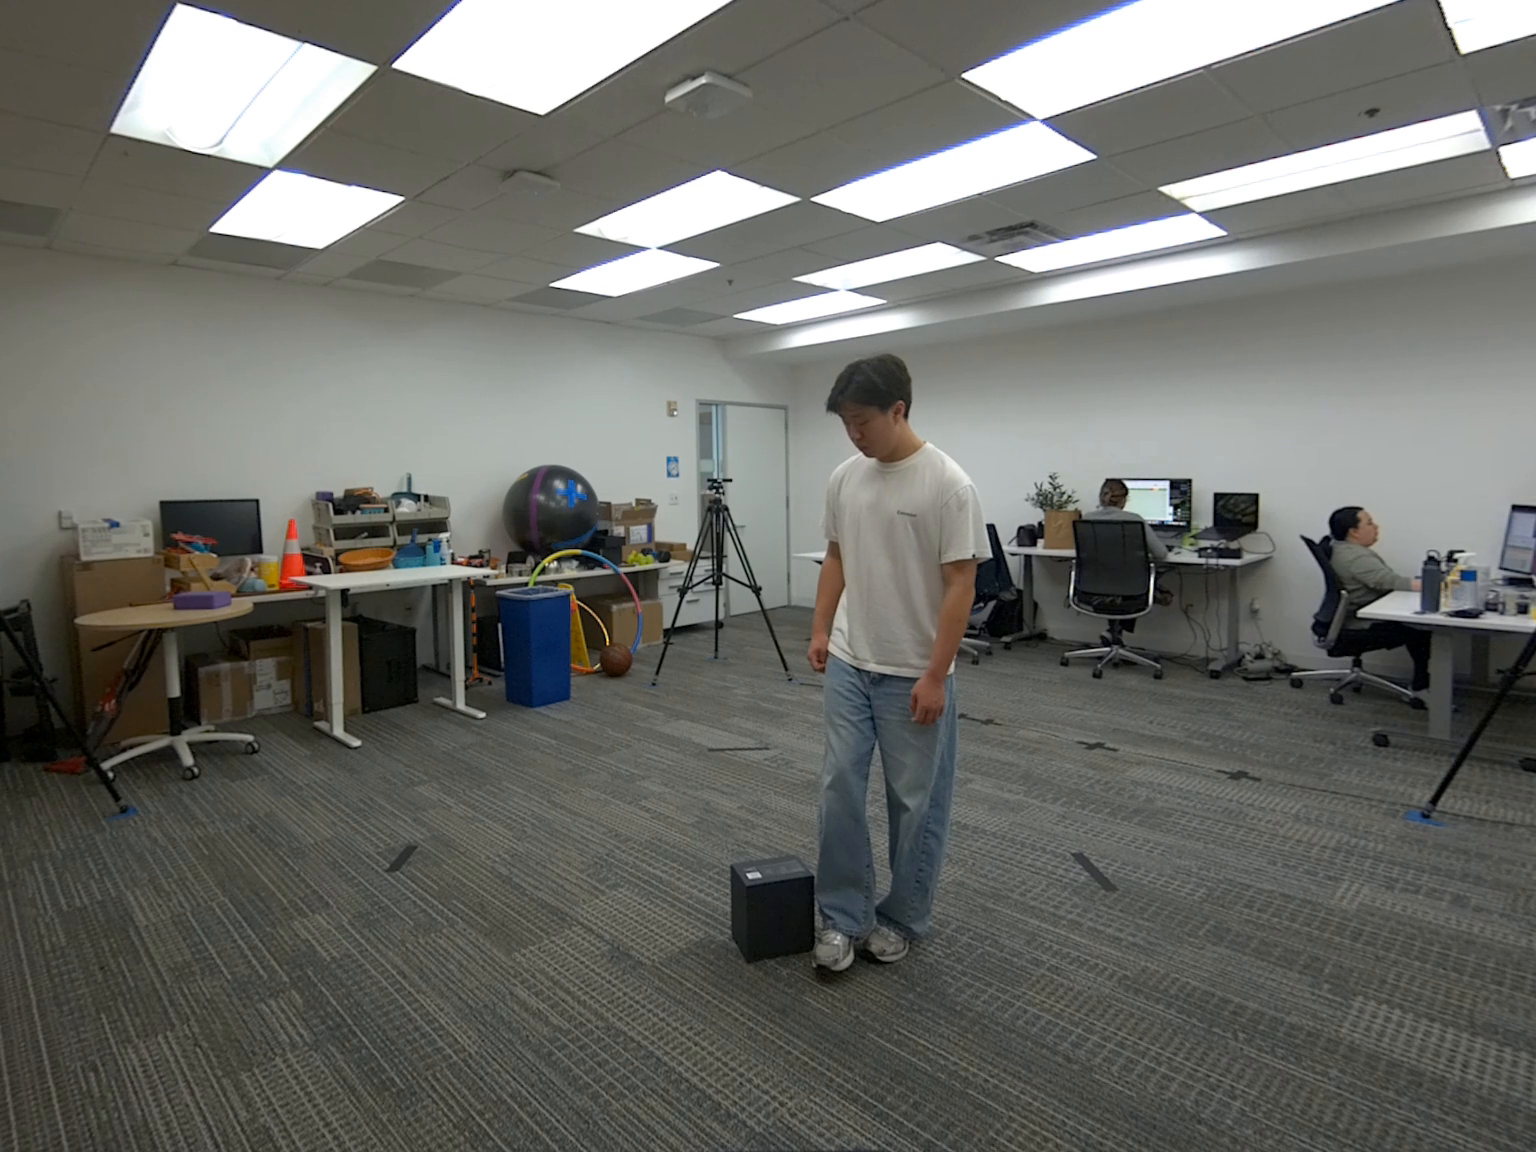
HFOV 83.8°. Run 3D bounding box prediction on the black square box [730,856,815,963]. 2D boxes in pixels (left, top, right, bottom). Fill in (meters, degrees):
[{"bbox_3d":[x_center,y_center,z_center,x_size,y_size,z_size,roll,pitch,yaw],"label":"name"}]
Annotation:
[{"bbox_3d":[0.019,0.985,2.565,0.213,0.227,0.159,-3,3,-19],"label":"black square box"}]
